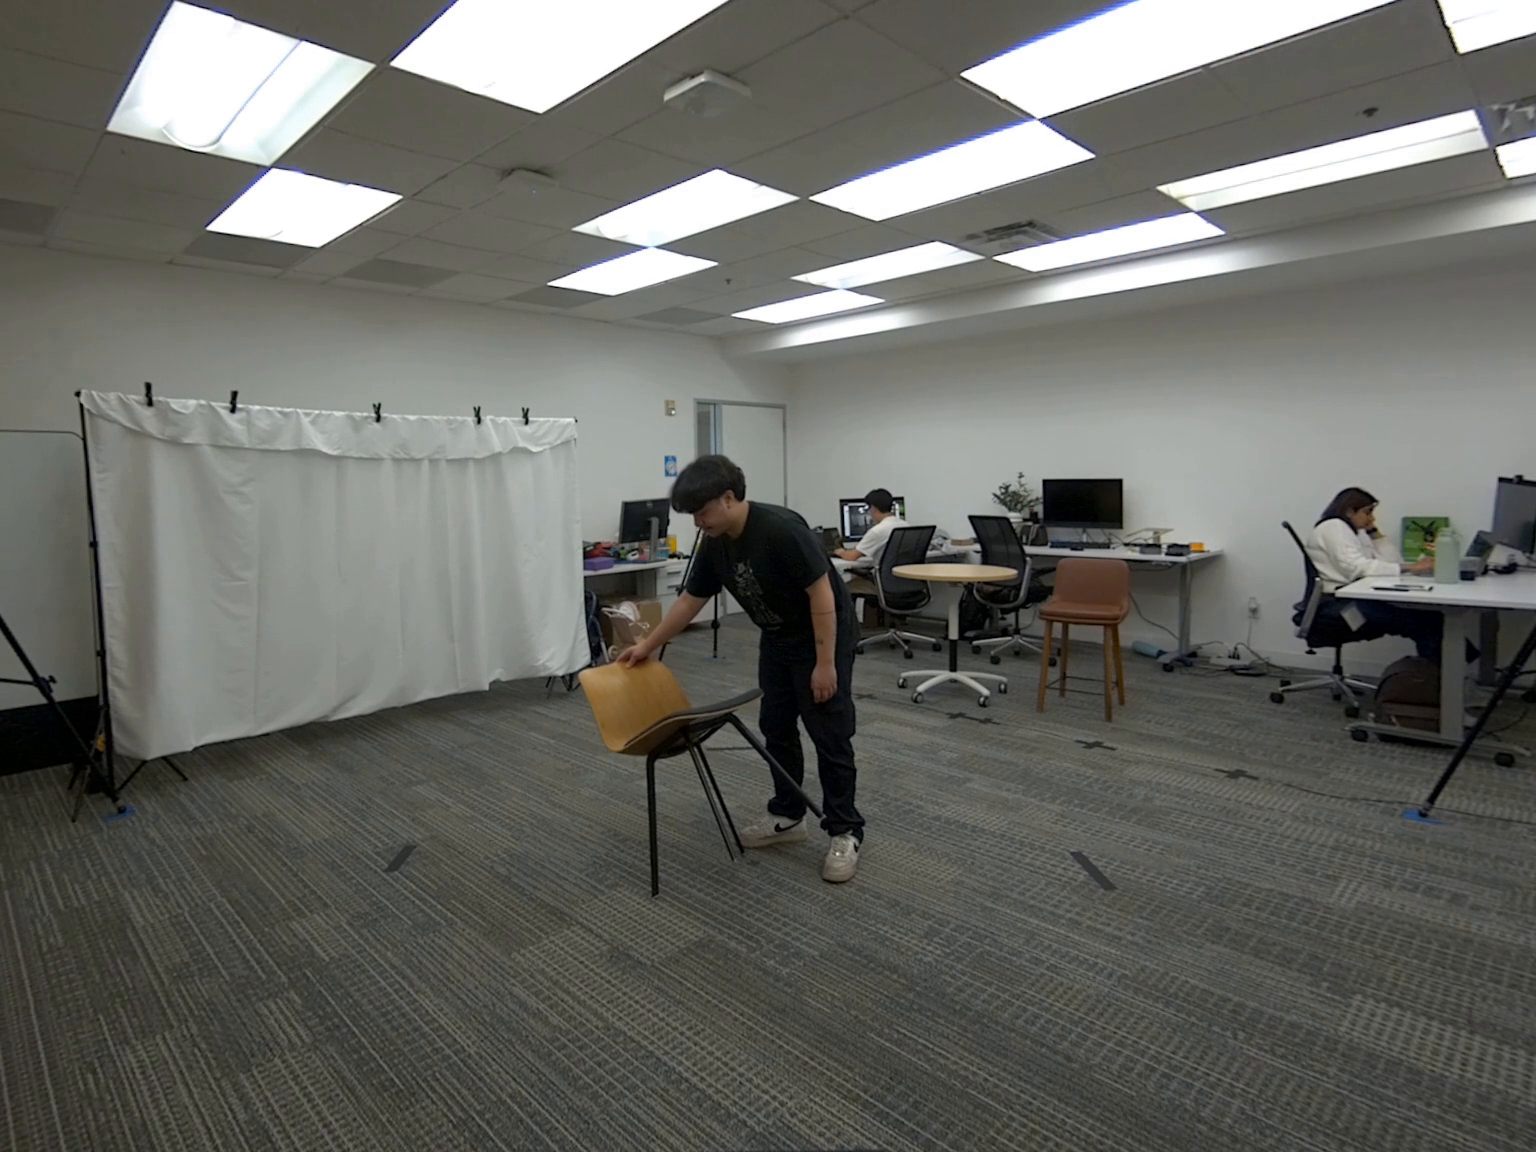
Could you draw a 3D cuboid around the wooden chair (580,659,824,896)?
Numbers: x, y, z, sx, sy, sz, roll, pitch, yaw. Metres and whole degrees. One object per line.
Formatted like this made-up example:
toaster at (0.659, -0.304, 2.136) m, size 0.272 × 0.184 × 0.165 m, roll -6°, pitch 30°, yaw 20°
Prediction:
wooden chair at (-0.271, 0.572, 3.006) m, size 0.465 × 0.901 × 0.523 m, roll -5°, pitch -32°, yaw -46°
